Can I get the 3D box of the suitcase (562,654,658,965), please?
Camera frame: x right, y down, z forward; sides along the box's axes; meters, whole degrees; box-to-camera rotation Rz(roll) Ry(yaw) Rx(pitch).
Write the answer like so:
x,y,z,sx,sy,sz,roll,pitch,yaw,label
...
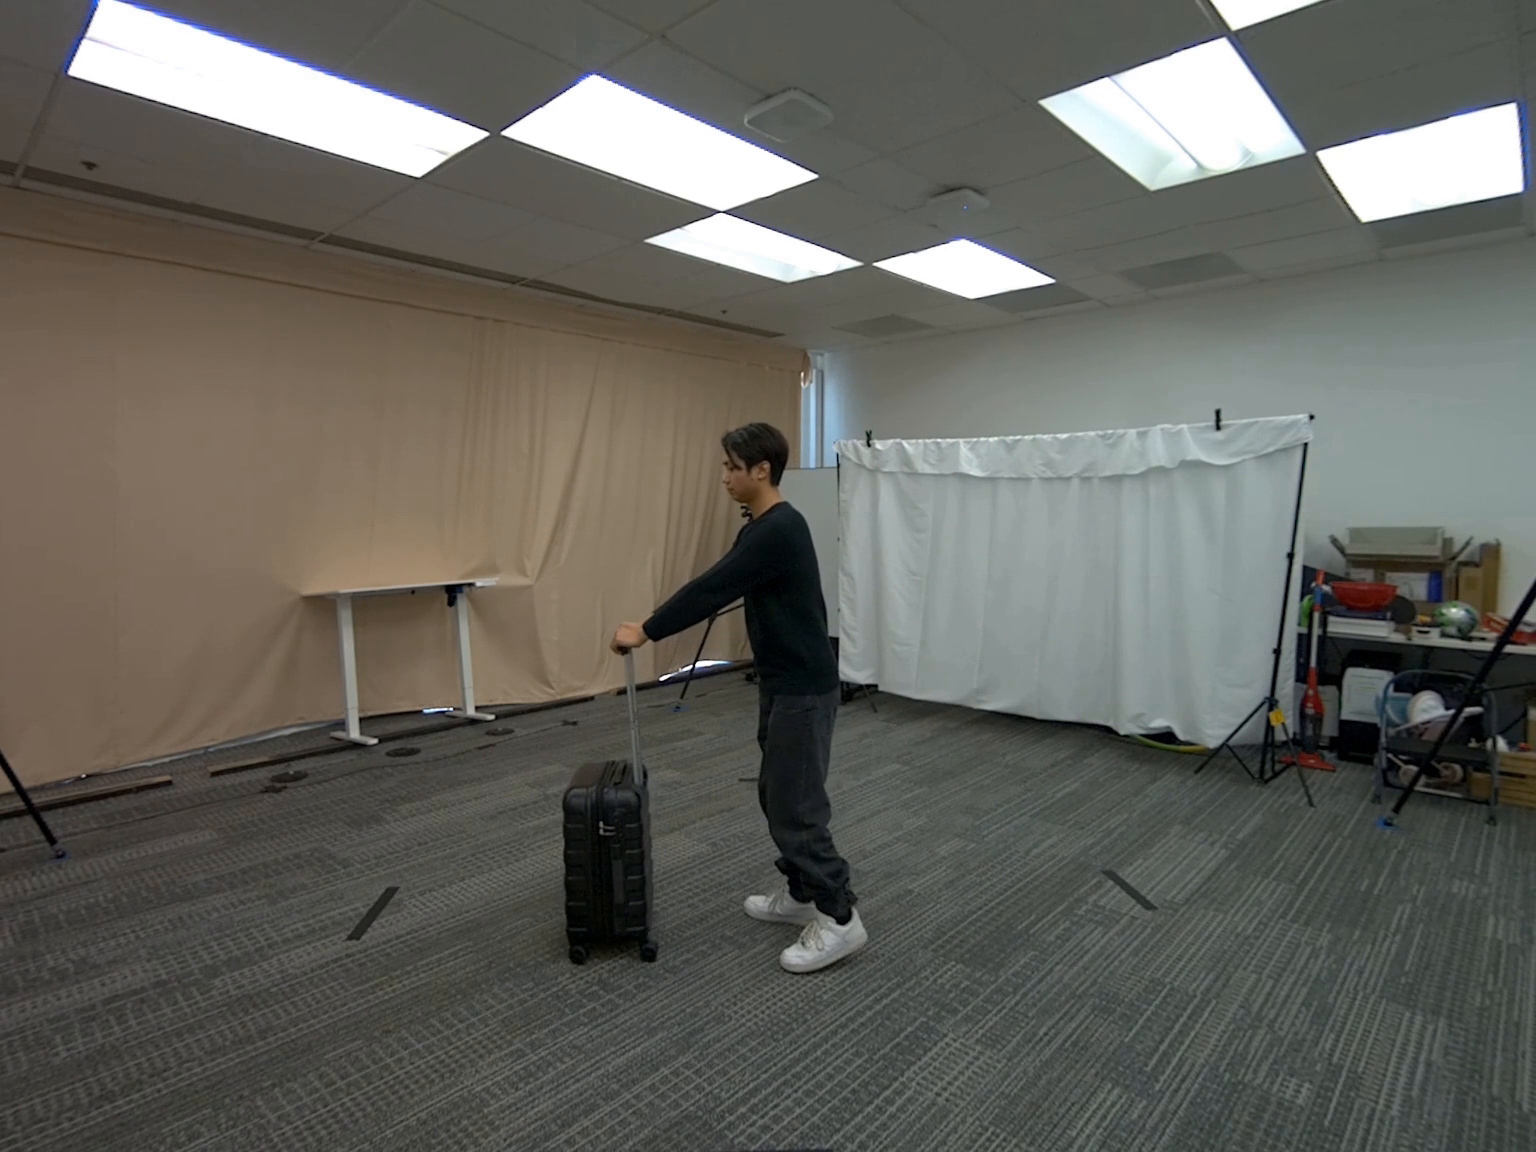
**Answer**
x,y,z,sx,sy,sz,roll,pitch,yaw,label
-0.516,0.700,2.712,0.256,0.977,0.386,-4,3,-3,suitcase
